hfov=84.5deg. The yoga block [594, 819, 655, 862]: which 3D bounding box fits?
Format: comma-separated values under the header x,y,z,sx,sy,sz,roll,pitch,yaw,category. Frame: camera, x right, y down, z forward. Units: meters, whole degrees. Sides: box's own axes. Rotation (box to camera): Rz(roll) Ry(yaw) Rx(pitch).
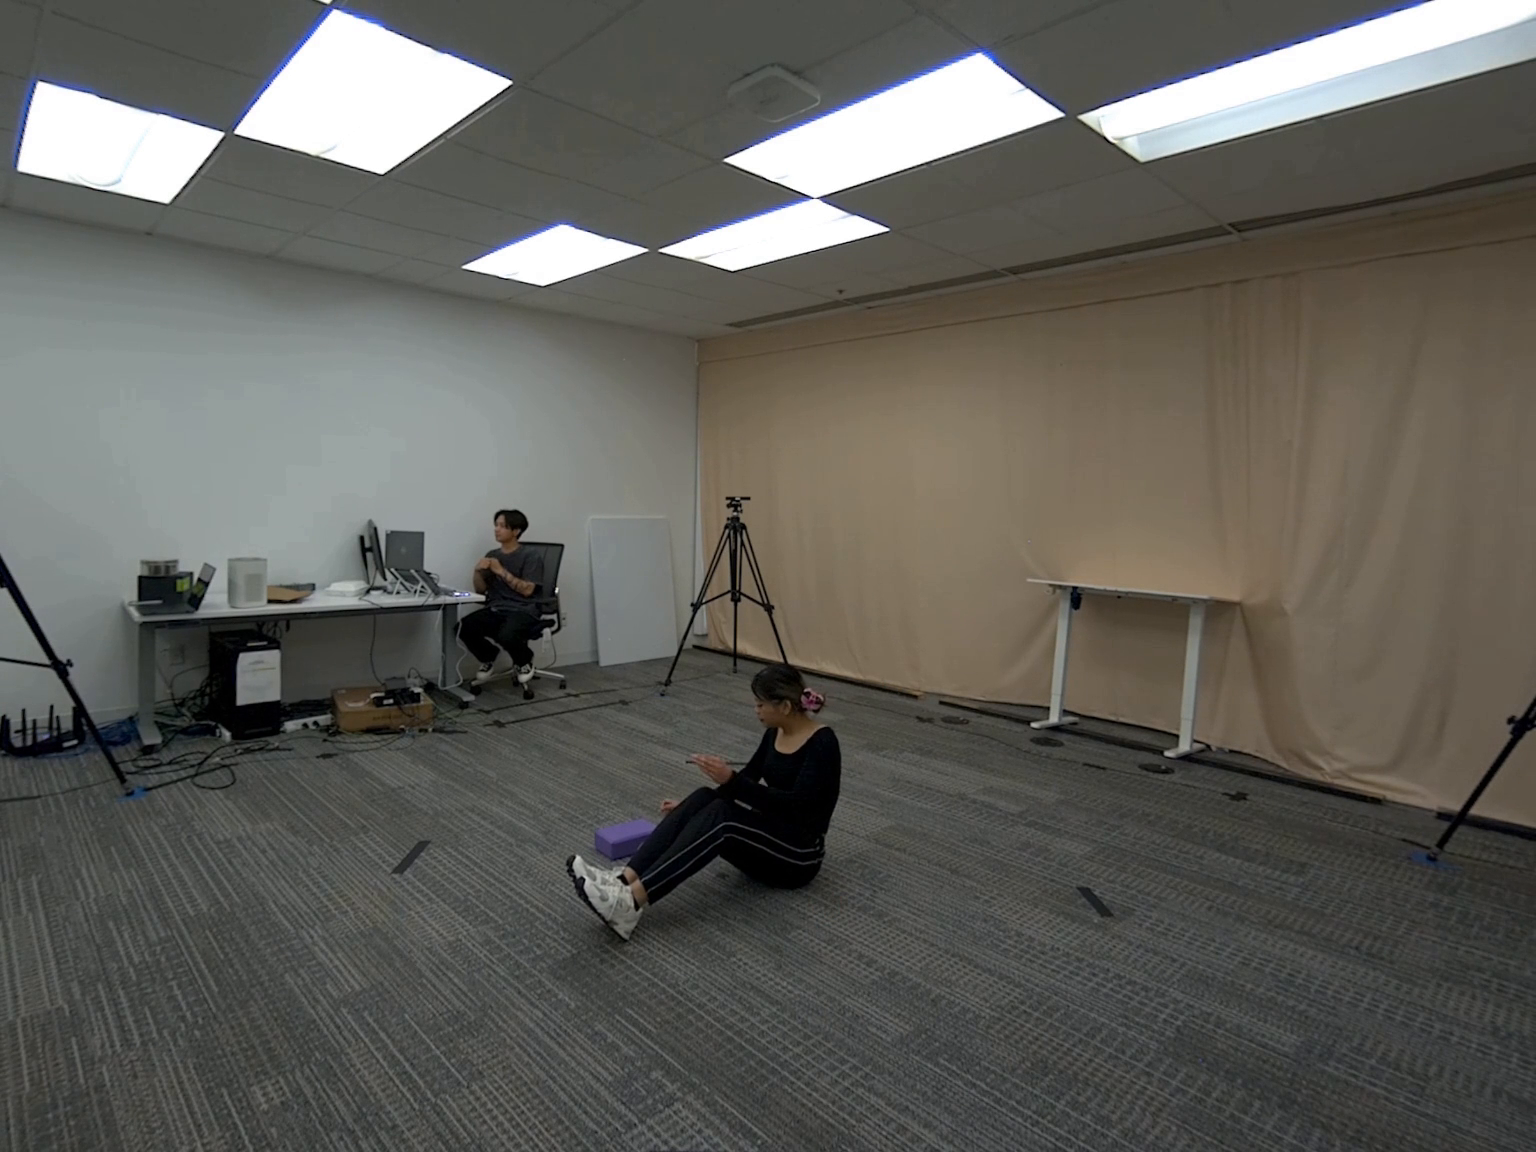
x,y,z,sx,sy,sz,roll,pitch,yaw,category
-0.553,1.028,3.326,0.224,0.076,0.153,-5,7,-39,yoga block
